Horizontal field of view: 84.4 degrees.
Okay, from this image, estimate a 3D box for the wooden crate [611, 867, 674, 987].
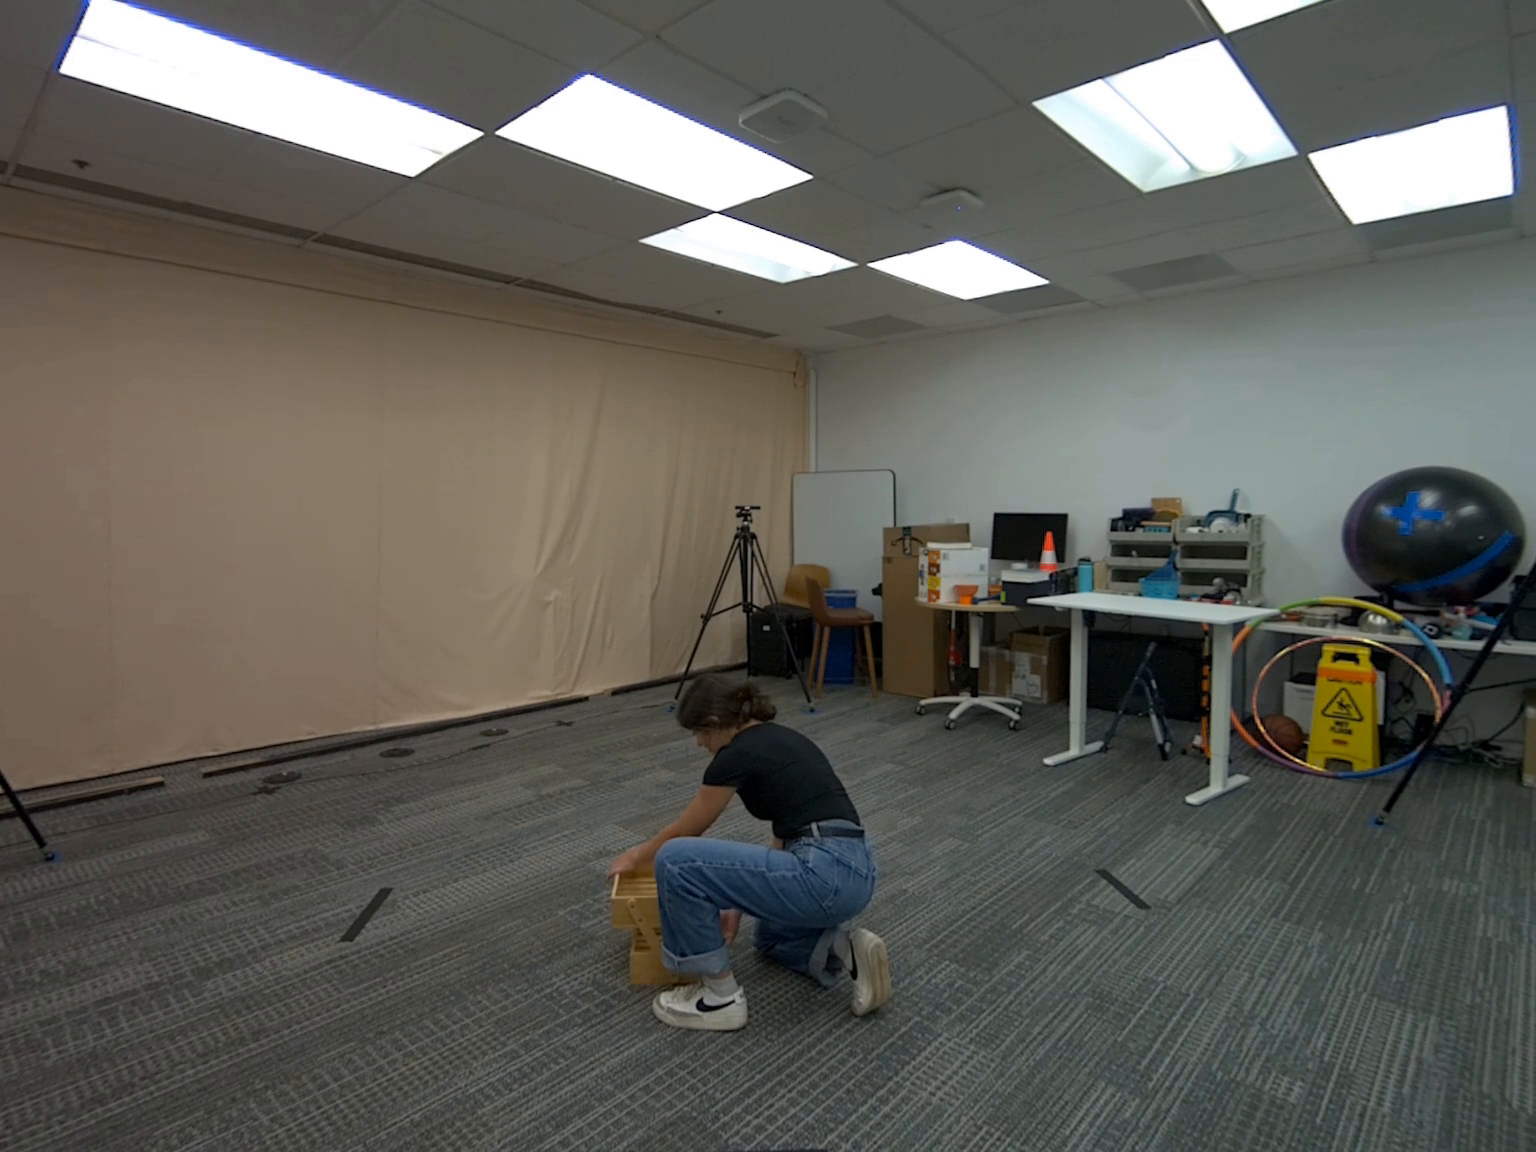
[{"bbox_3d":[-0.312,1.045,2.591,0.301,0.272,0.327,0,4,-5],"label":"wooden crate"}]
